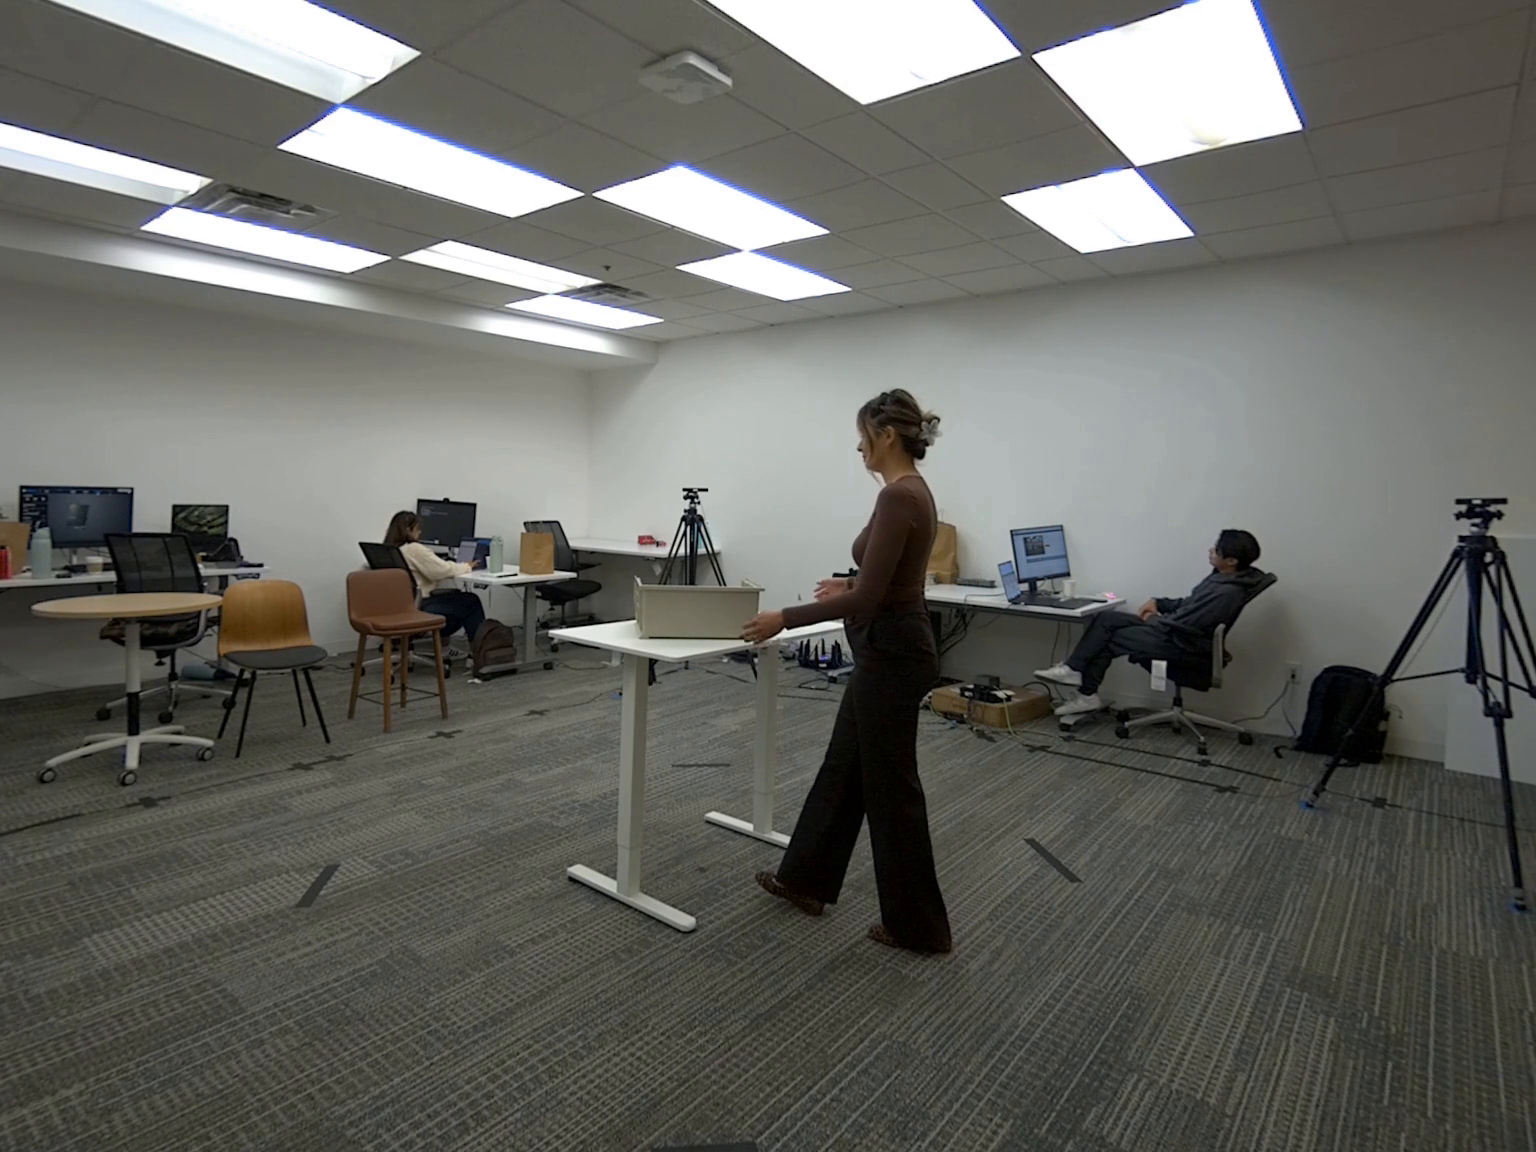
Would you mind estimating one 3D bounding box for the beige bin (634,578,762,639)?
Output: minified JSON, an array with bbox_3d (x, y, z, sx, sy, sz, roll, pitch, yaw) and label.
[{"bbox_3d":[-0.266,0.105,3.015,0.418,0.188,0.383,1,6,-9],"label":"beige bin"}]
